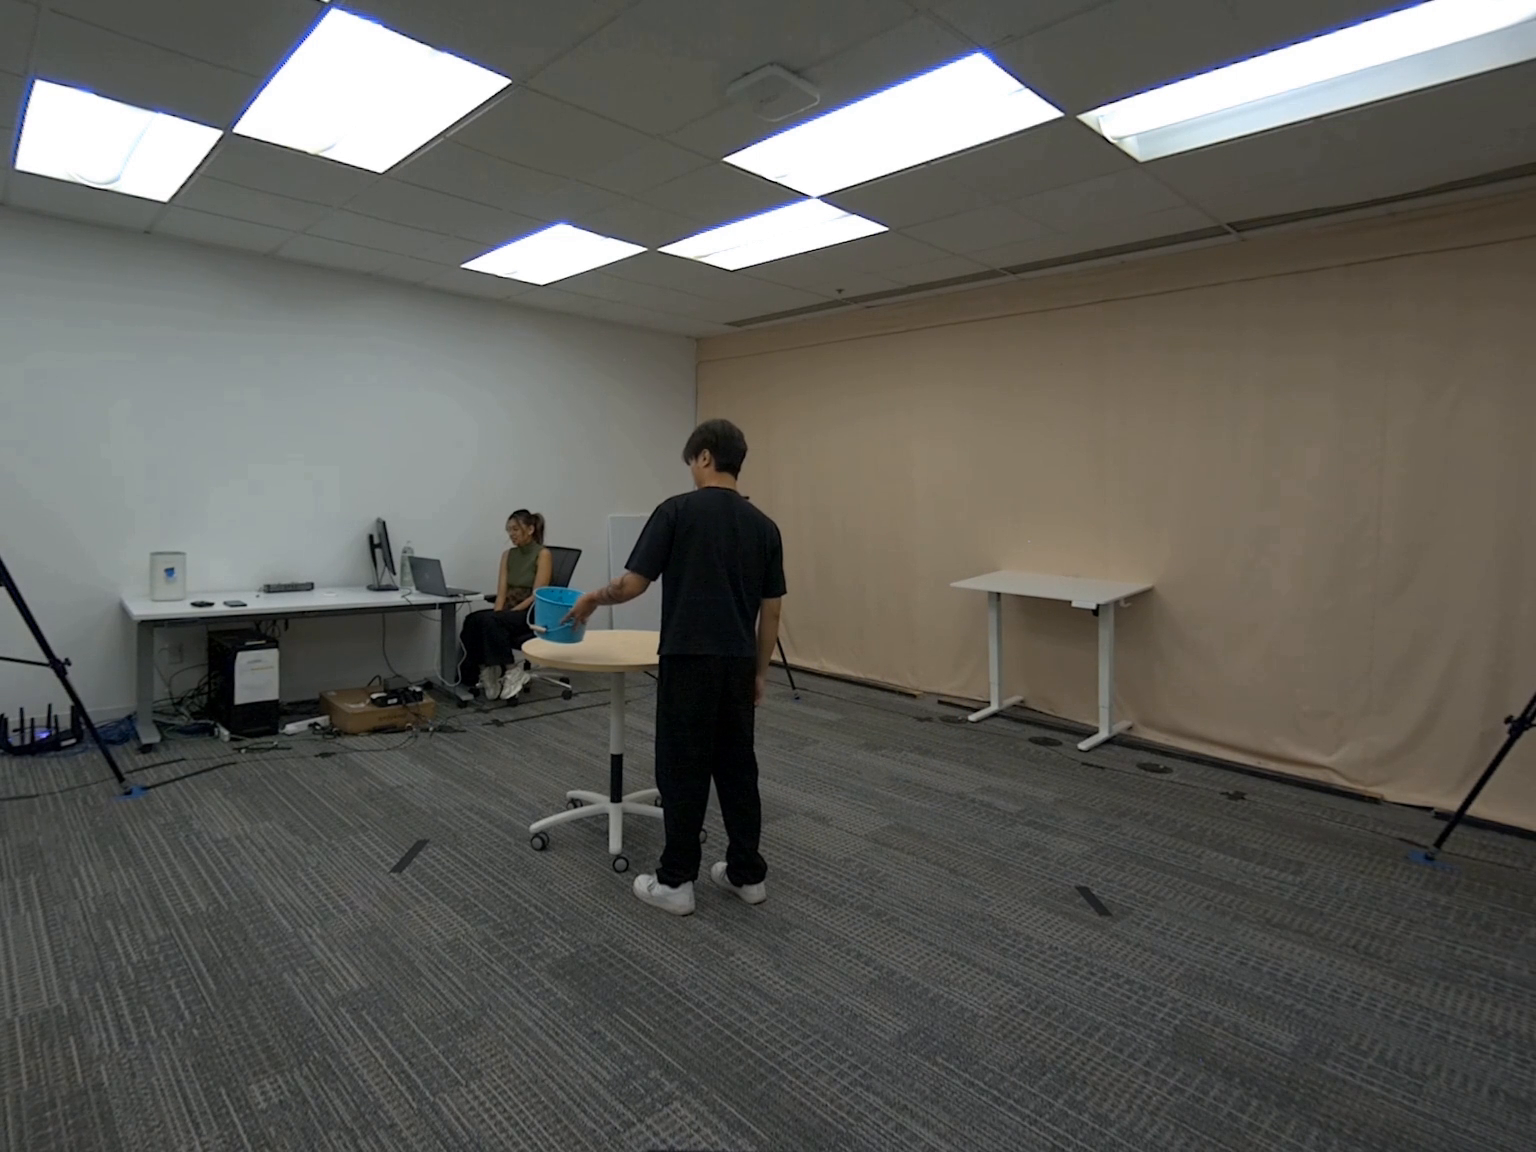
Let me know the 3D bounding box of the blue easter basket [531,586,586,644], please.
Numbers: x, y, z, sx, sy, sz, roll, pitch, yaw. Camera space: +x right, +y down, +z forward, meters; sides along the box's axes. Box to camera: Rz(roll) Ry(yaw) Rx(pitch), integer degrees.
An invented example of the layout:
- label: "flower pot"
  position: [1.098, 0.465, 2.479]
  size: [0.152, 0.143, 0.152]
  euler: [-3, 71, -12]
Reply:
- label: "blue easter basket"
  position: [-0.767, 0.152, 3.096]
  size: [0.243, 0.155, 0.245]
  euler: [10, 9, -3]
